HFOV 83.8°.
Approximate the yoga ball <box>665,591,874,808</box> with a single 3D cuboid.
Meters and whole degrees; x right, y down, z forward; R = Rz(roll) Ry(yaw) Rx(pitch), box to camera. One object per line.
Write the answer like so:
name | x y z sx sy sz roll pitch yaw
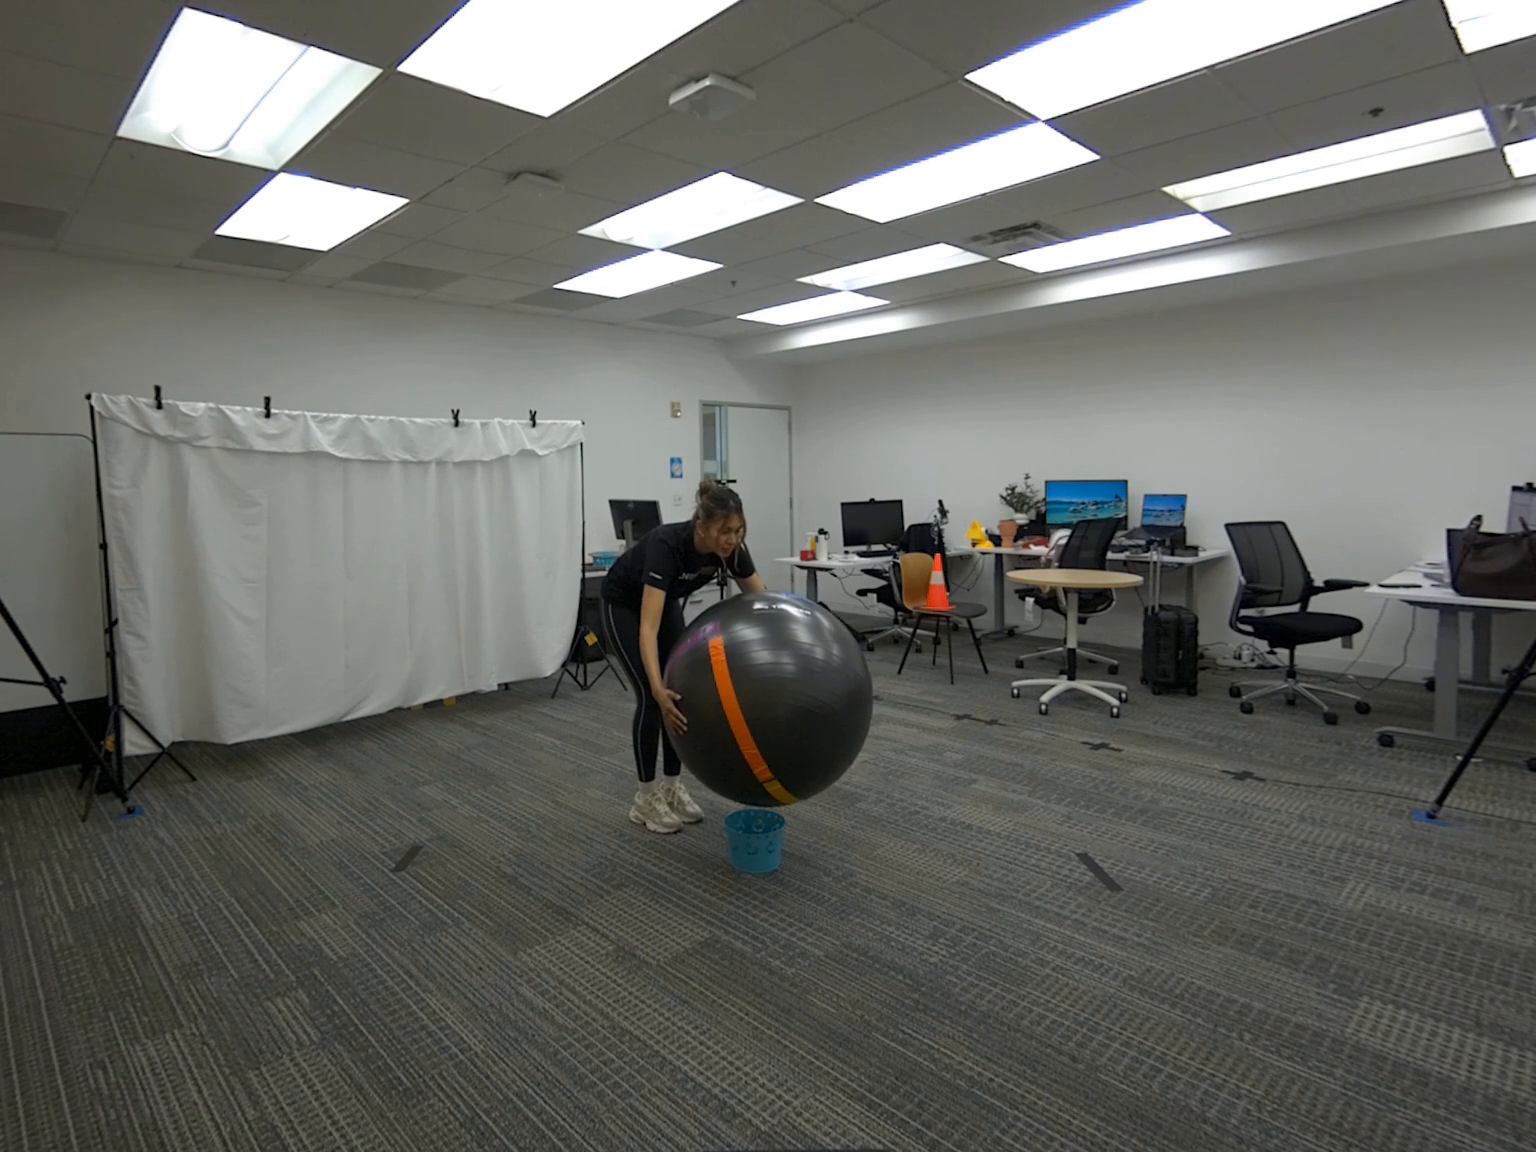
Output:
yoga ball | -0.005 0.432 3.065 0.757 0.755 0.762 -1 5 -2
